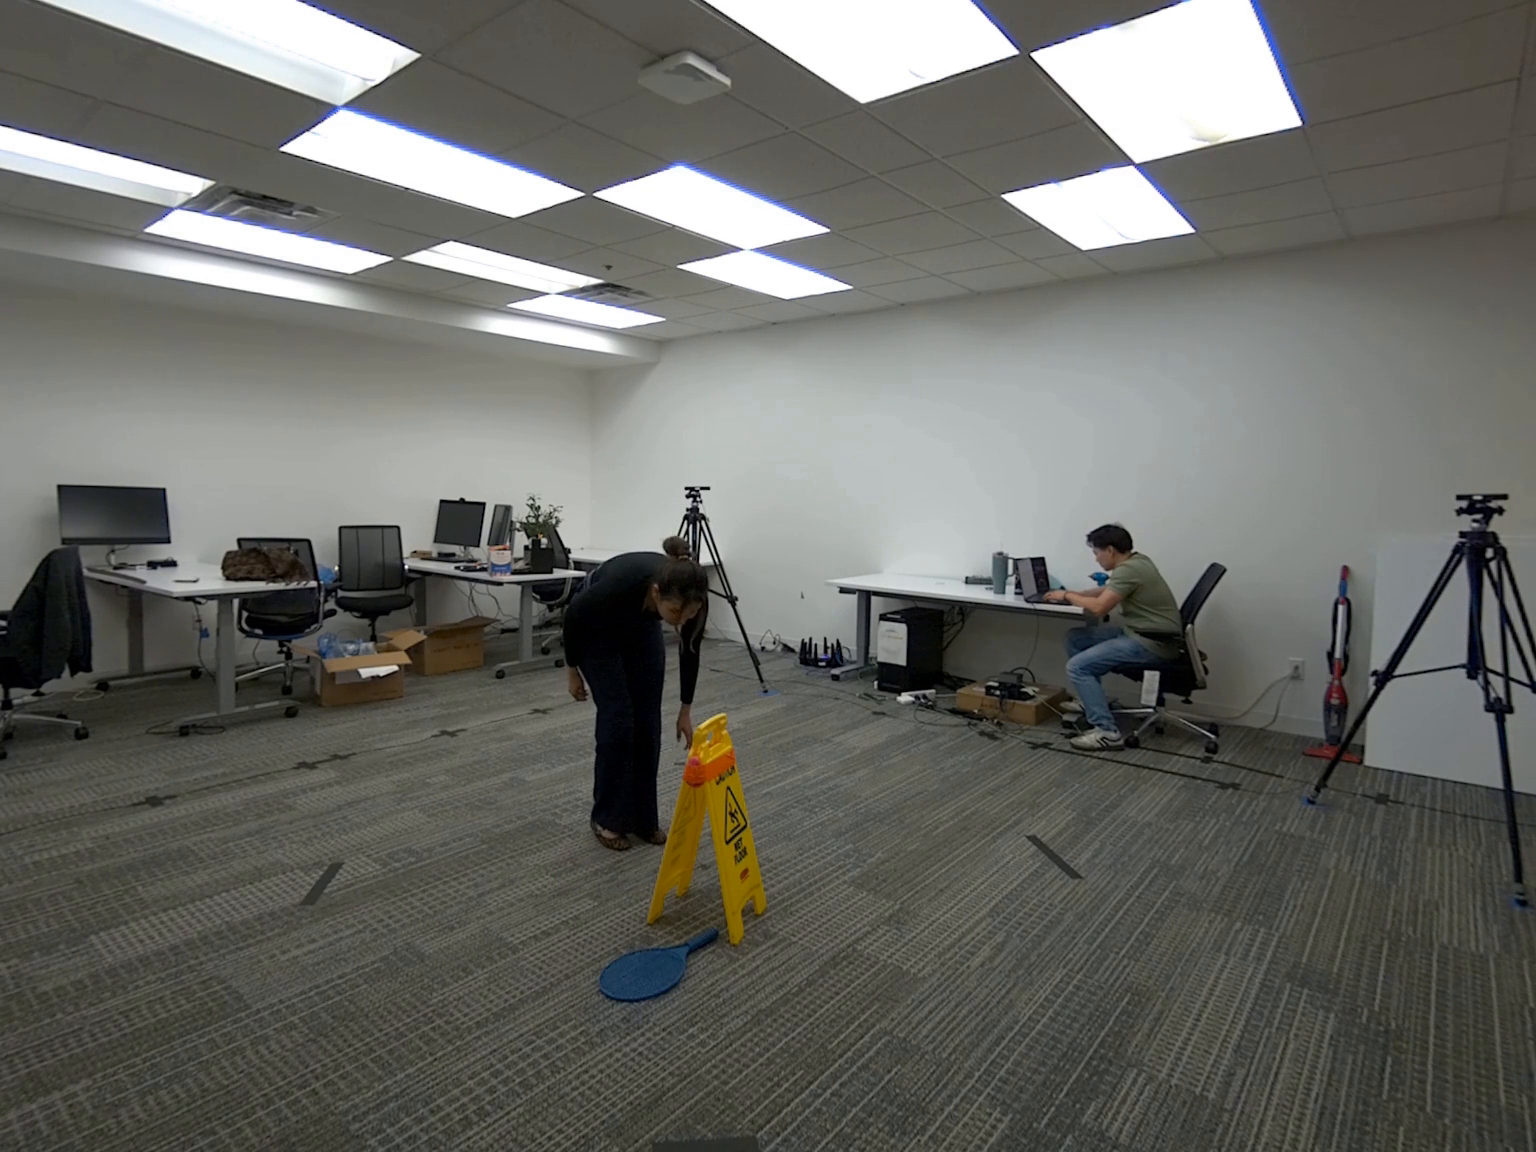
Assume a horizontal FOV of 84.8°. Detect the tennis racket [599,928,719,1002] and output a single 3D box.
[{"bbox_3d":[-0.303,1.116,2.472,0.221,0.031,0.420,5,8,42],"label":"tennis racket"}]
